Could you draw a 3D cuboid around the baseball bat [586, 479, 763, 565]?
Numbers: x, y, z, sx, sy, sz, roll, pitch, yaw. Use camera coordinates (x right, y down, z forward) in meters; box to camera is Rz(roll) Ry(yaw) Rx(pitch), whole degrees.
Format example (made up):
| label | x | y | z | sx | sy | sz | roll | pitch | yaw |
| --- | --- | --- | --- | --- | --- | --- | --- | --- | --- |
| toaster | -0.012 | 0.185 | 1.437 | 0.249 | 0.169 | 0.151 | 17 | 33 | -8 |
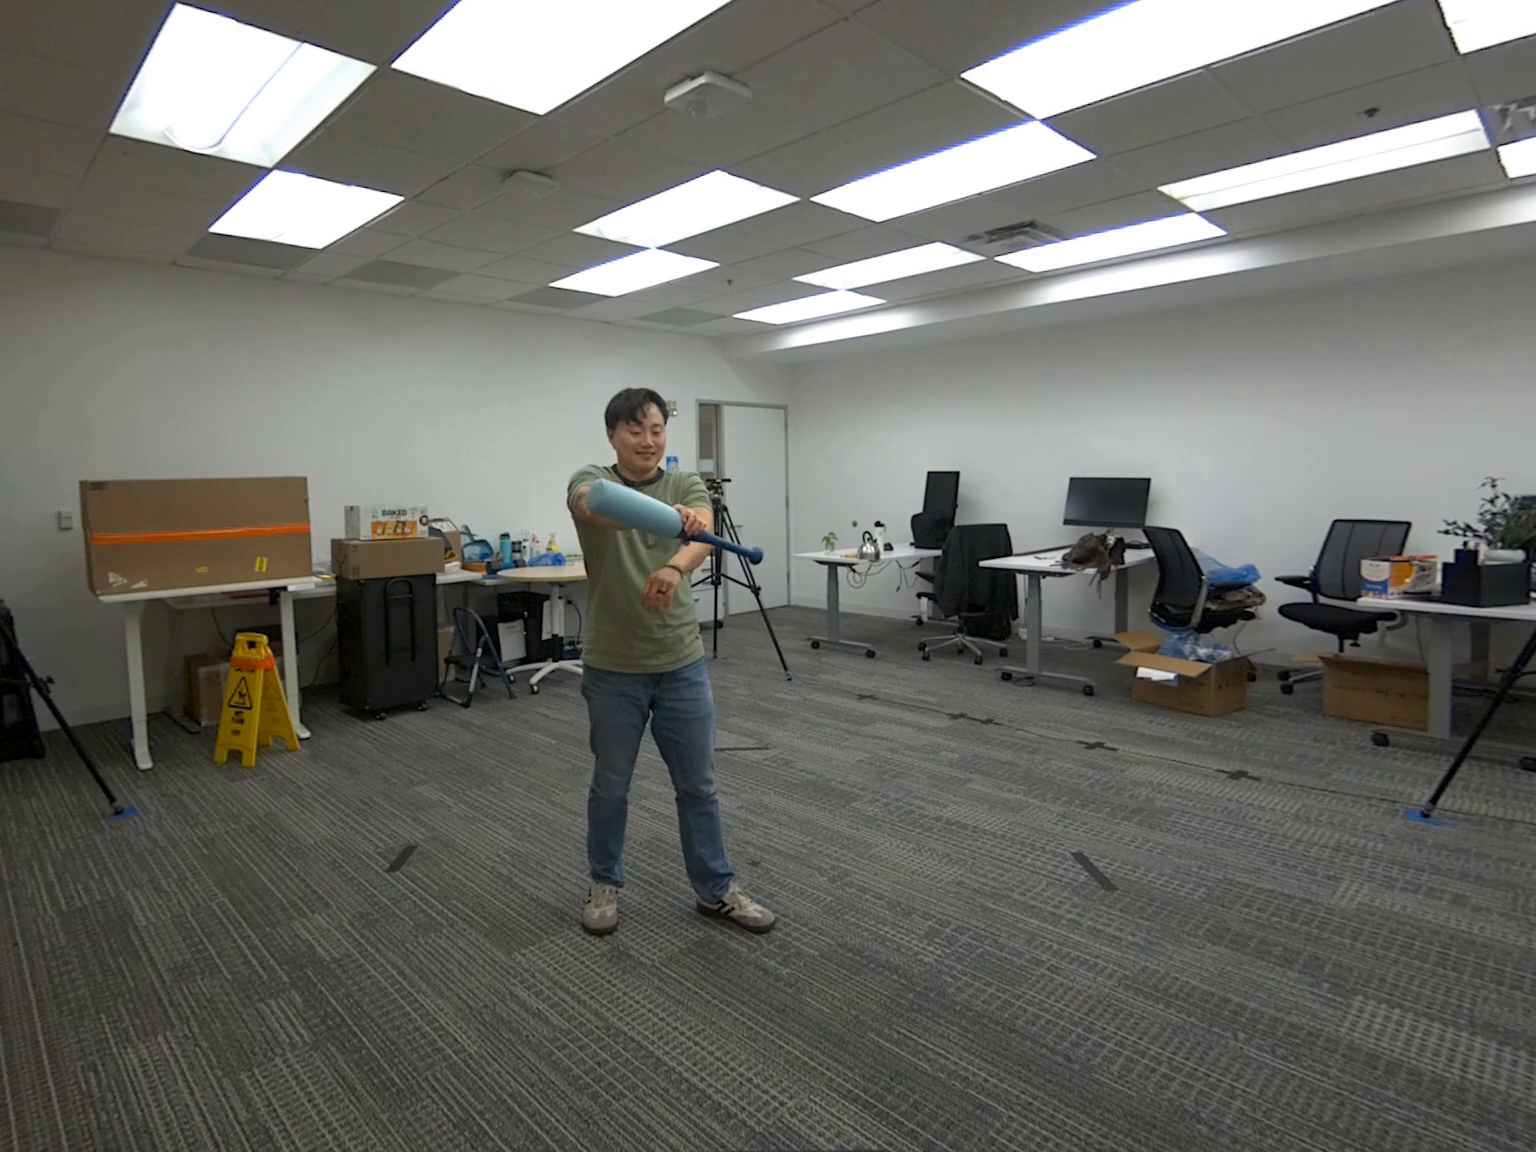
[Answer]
| label | x | y | z | sx | sy | sz | roll | pitch | yaw |
| --- | --- | --- | --- | --- | --- | --- | --- | --- | --- |
| baseball bat | -0.220 | -0.117 | 2.172 | 0.523 | 0.089 | 0.092 | 22 | -12 | -40 |
